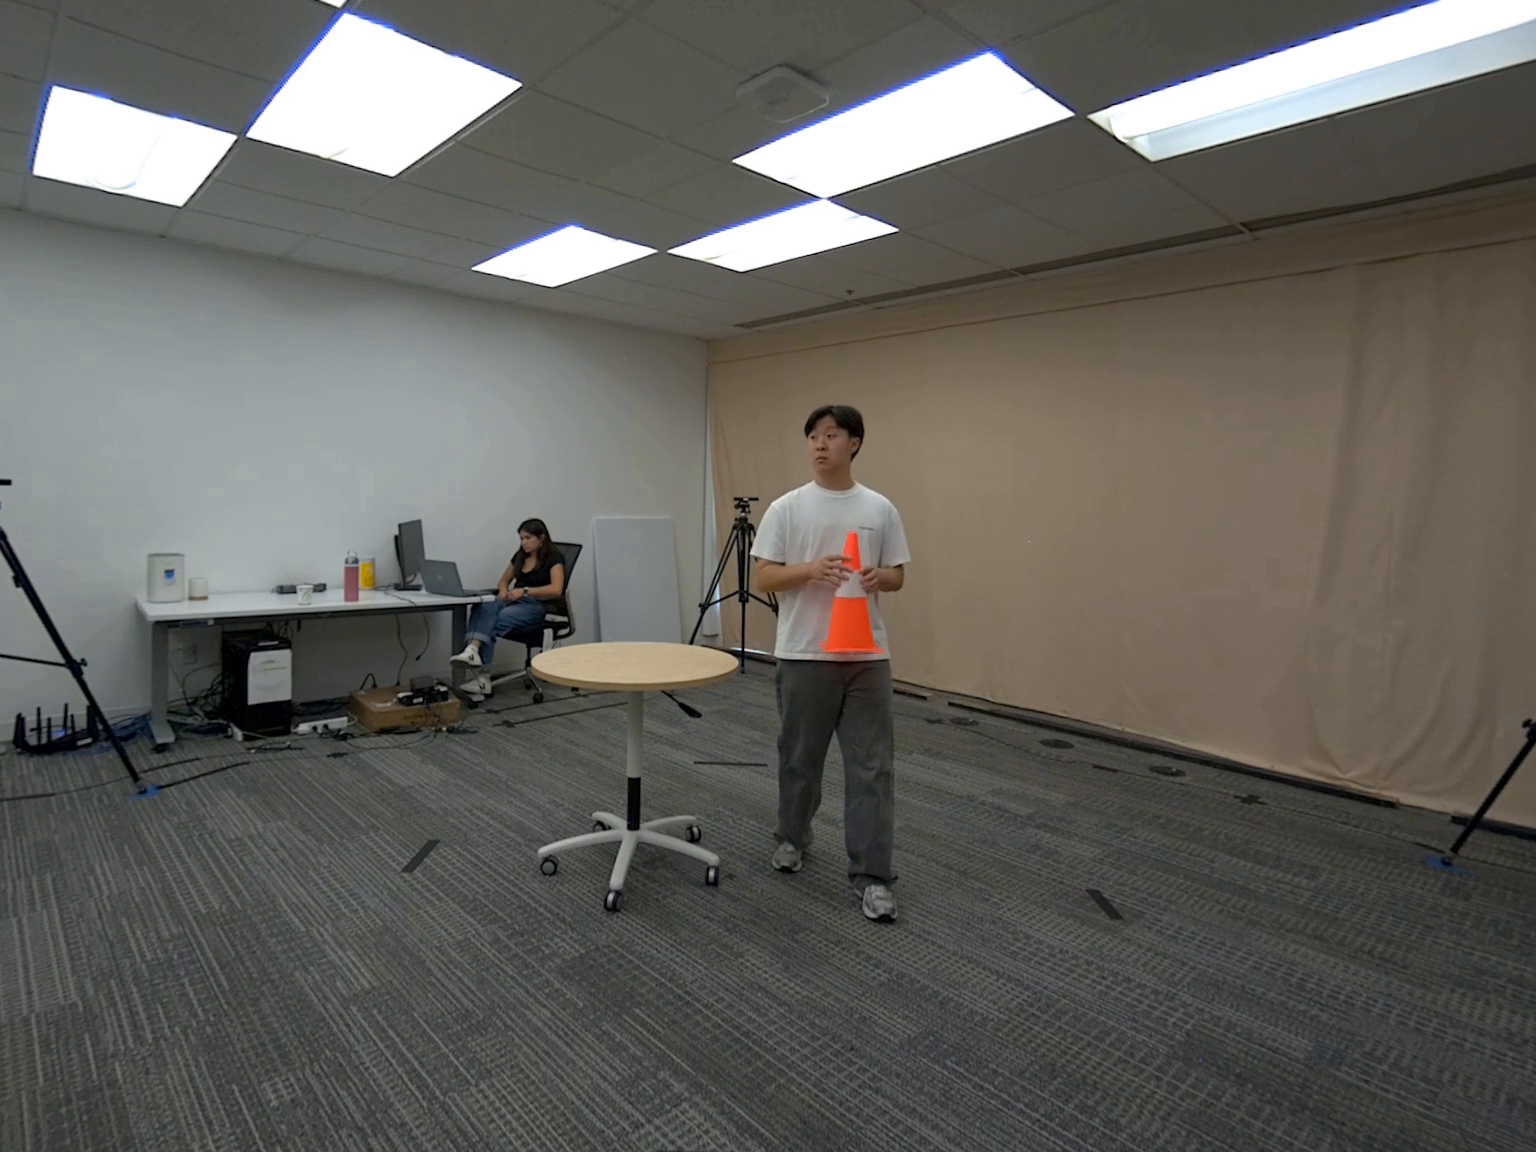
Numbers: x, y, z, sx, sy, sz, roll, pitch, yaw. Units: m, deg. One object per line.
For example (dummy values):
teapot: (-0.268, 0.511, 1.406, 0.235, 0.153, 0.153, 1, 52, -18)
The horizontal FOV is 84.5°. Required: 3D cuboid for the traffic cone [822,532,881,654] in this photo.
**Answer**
traffic cone: (0.258, 0.043, 2.788, 0.205, 0.383, 0.203, 0, 1, 0)
